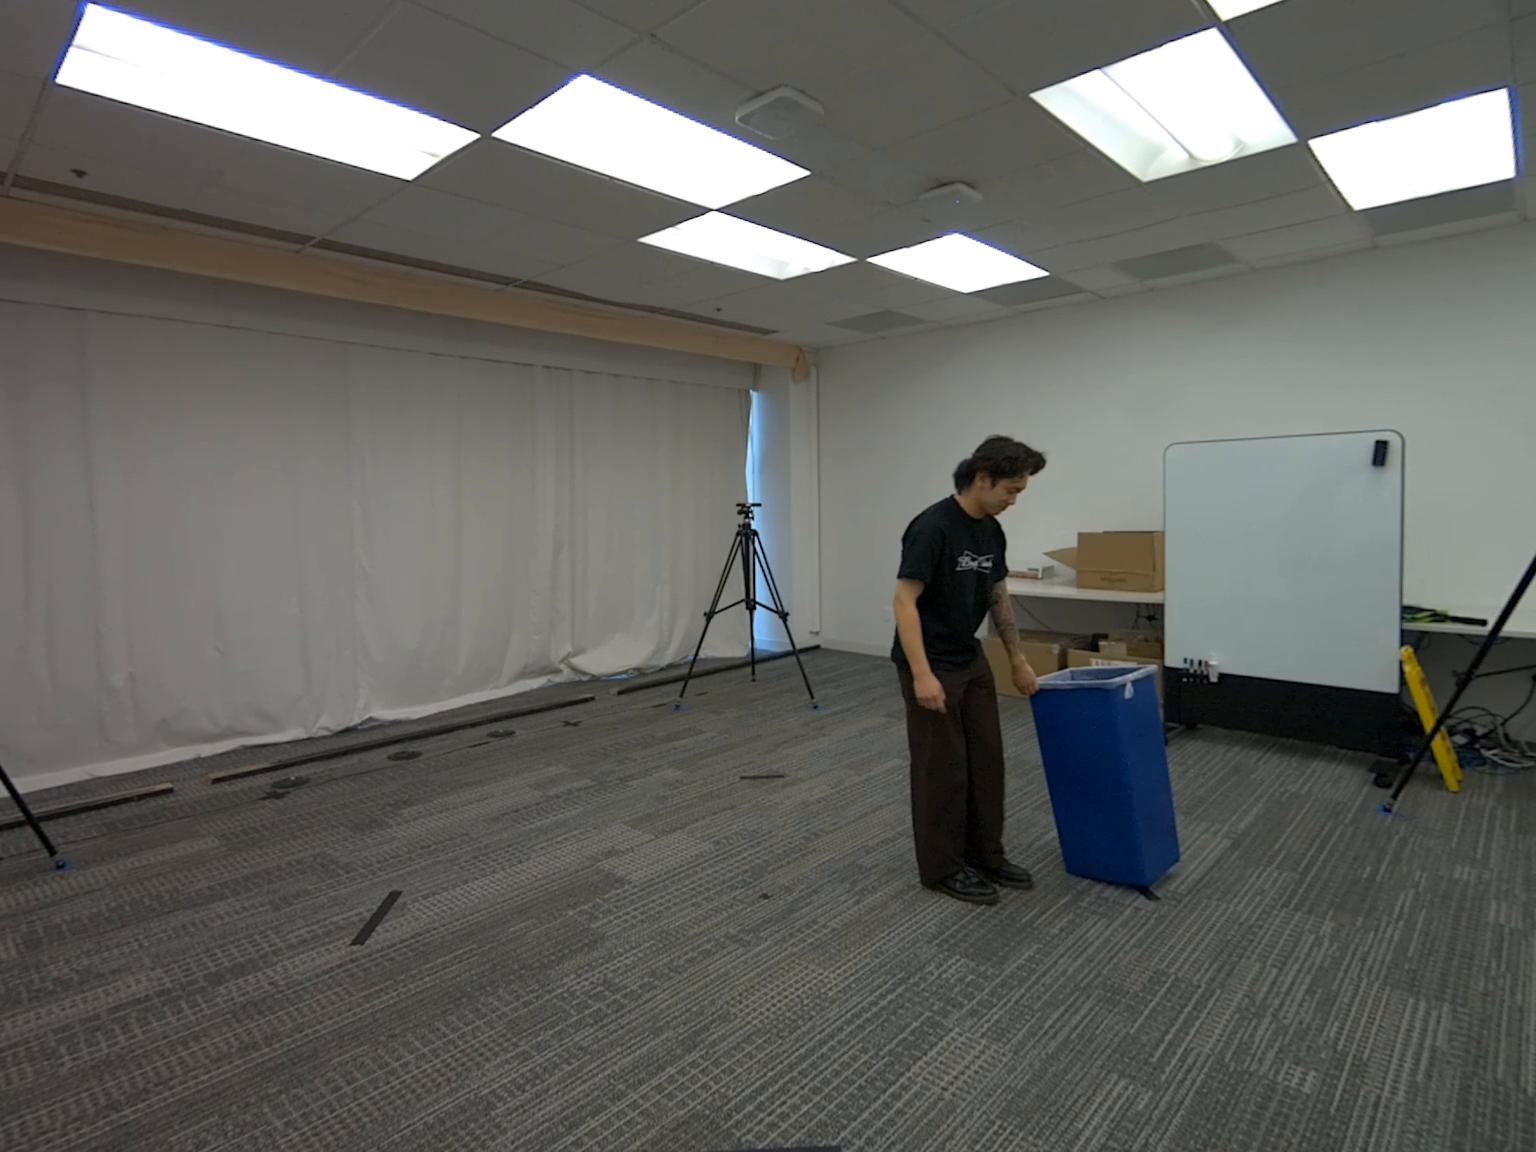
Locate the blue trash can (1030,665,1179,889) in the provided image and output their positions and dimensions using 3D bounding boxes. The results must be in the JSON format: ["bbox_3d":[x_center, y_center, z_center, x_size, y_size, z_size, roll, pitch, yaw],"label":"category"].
[{"bbox_3d":[1.258,0.724,3.141,0.367,0.715,0.384,-5,-4,-41],"label":"blue trash can"}]
